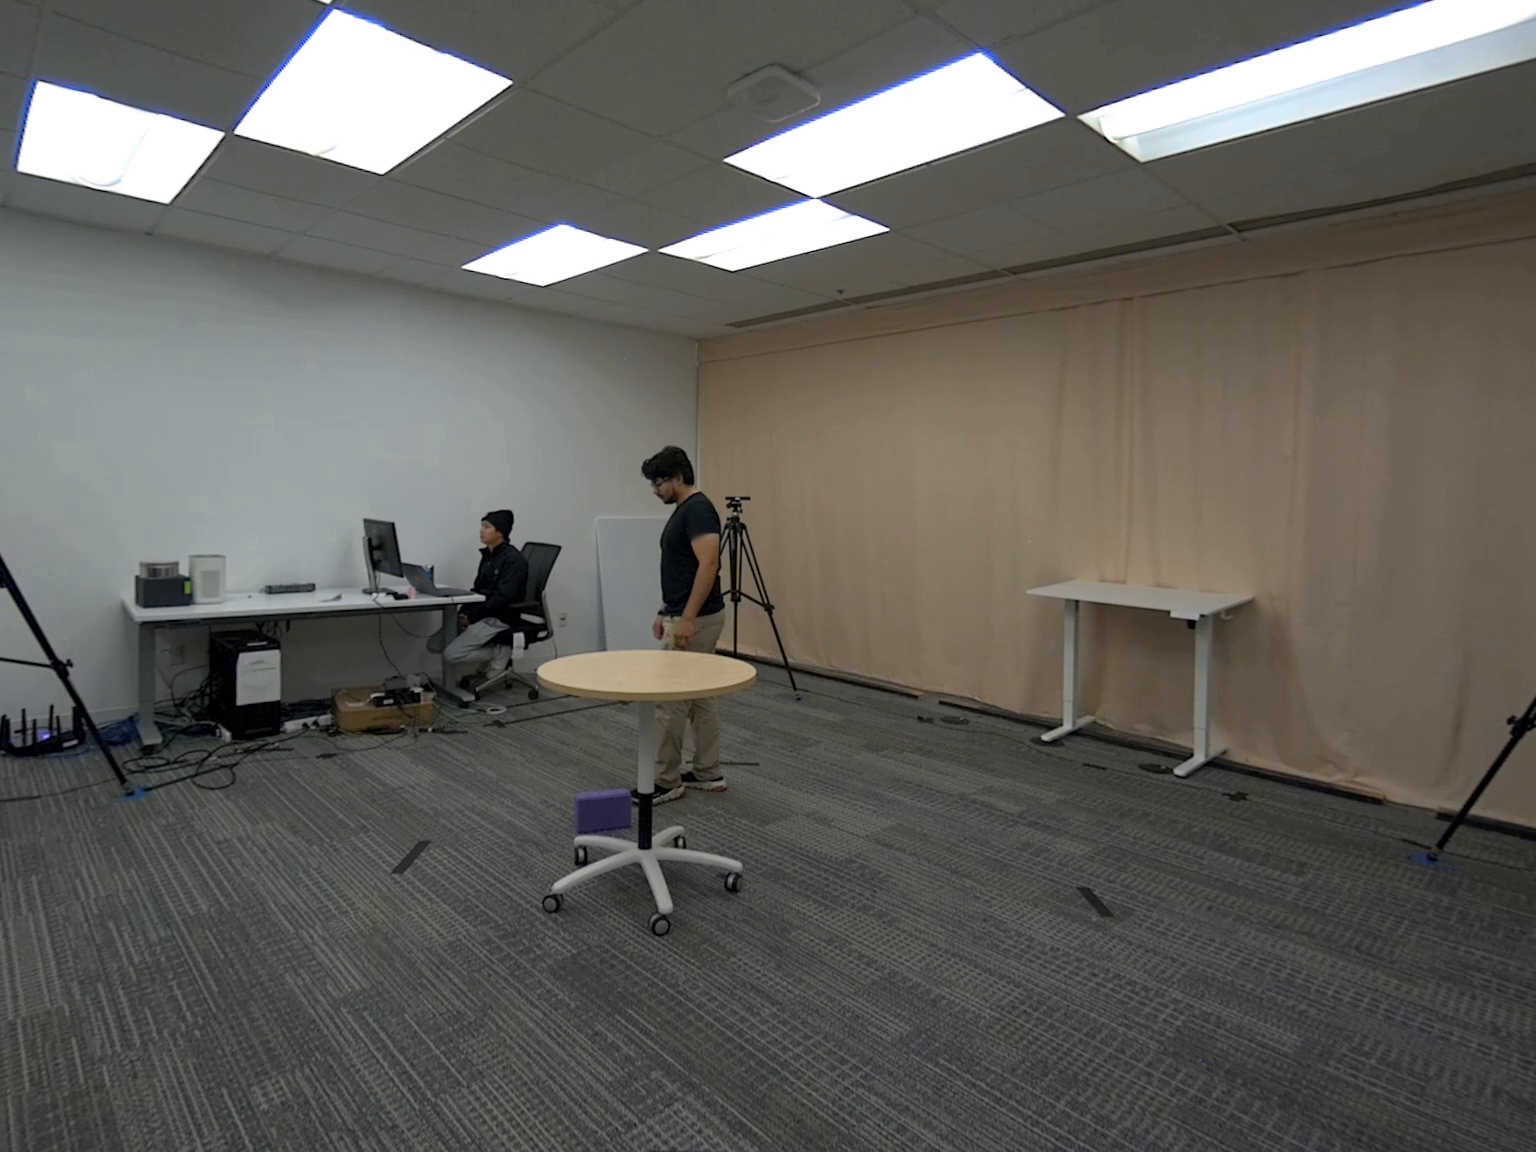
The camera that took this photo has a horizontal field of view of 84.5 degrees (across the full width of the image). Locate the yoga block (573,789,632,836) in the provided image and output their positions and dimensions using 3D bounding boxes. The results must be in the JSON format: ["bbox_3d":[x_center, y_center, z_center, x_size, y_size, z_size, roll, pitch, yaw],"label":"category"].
[{"bbox_3d":[-0.700,0.981,3.526,0.226,0.148,0.078,-1,6,-21],"label":"yoga block"}]
